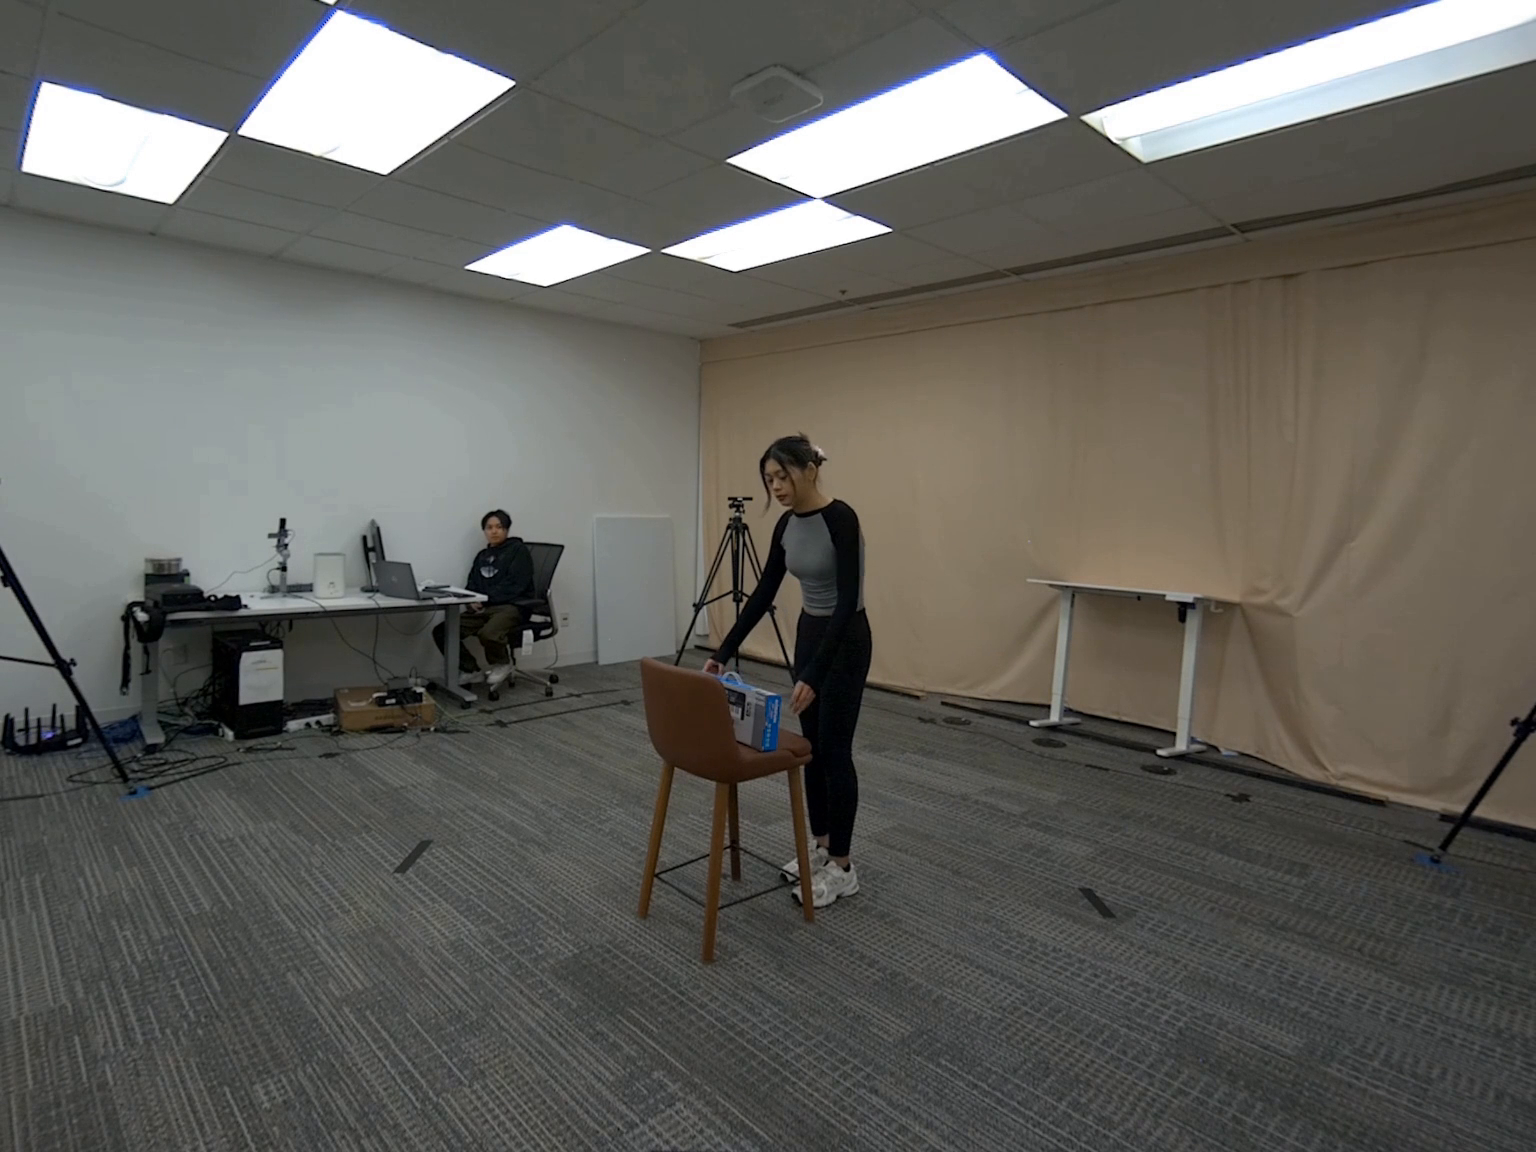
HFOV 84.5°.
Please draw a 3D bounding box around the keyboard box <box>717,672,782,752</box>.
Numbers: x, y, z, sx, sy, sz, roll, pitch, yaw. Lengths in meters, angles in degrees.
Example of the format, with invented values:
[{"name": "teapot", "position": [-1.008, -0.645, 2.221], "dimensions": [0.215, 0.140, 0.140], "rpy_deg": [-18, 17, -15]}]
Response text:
[{"name": "keyboard box", "position": [-0.130, 0.438, 2.773], "dimensions": [0.057, 0.176, 0.448], "rpy_deg": [5, 2, -38]}]
